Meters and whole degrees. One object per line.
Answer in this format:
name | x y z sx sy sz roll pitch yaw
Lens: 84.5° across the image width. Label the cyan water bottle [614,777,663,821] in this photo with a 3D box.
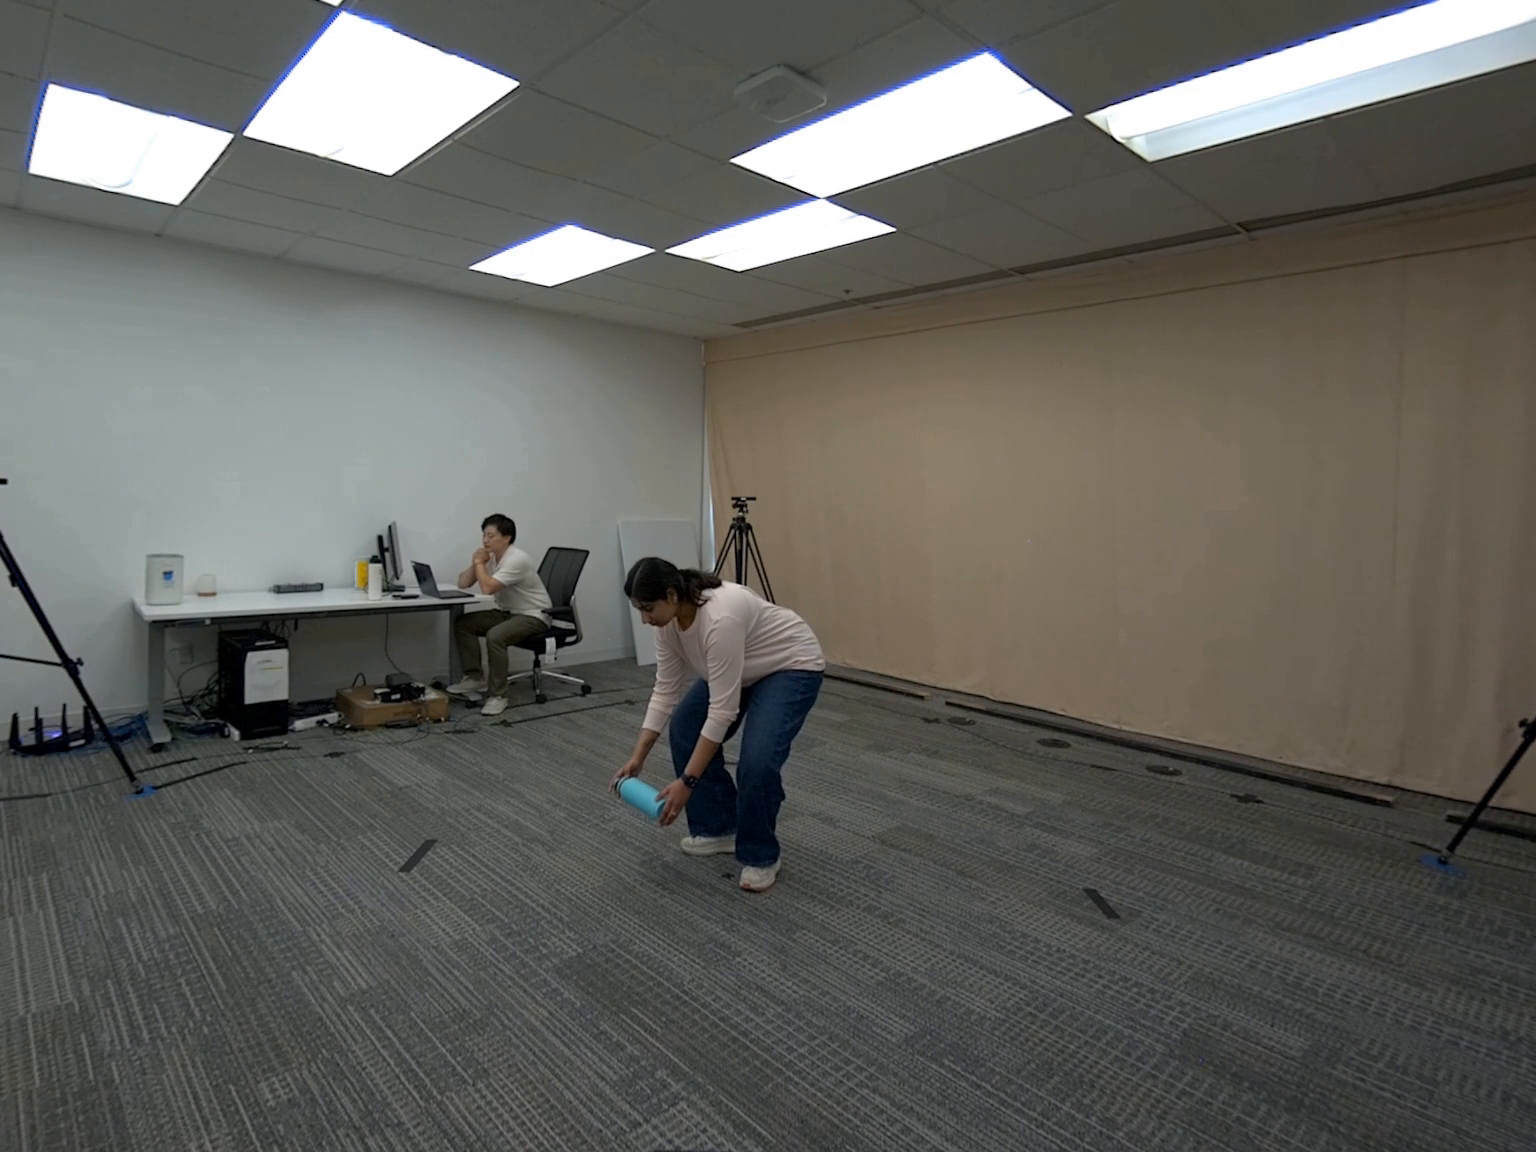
cyan water bottle | -0.447 0.778 2.975 0.090 0.092 0.291 -2 9 -42
